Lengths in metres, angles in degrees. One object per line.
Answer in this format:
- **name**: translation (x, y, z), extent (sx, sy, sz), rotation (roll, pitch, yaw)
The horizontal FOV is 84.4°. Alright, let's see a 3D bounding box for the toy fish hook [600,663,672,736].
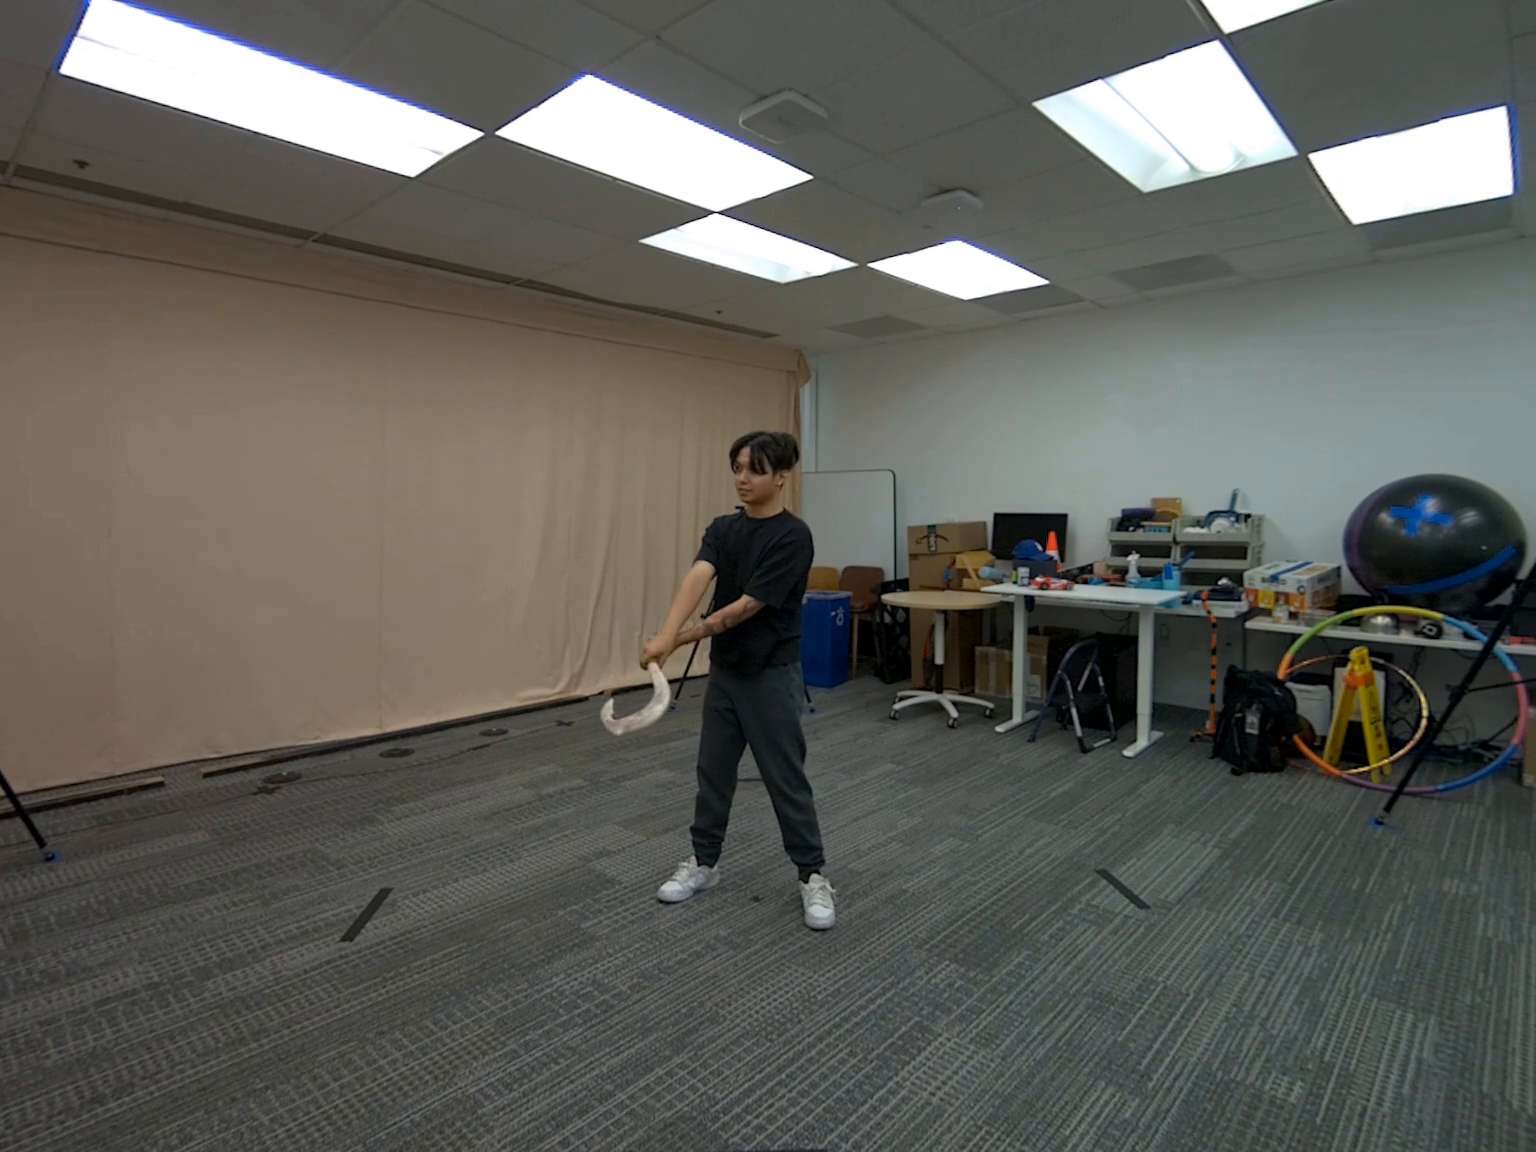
- **toy fish hook**: translation (-0.386, 0.323, 2.621), extent (0.225, 0.047, 0.515), rotation (-17, 24, 2)
